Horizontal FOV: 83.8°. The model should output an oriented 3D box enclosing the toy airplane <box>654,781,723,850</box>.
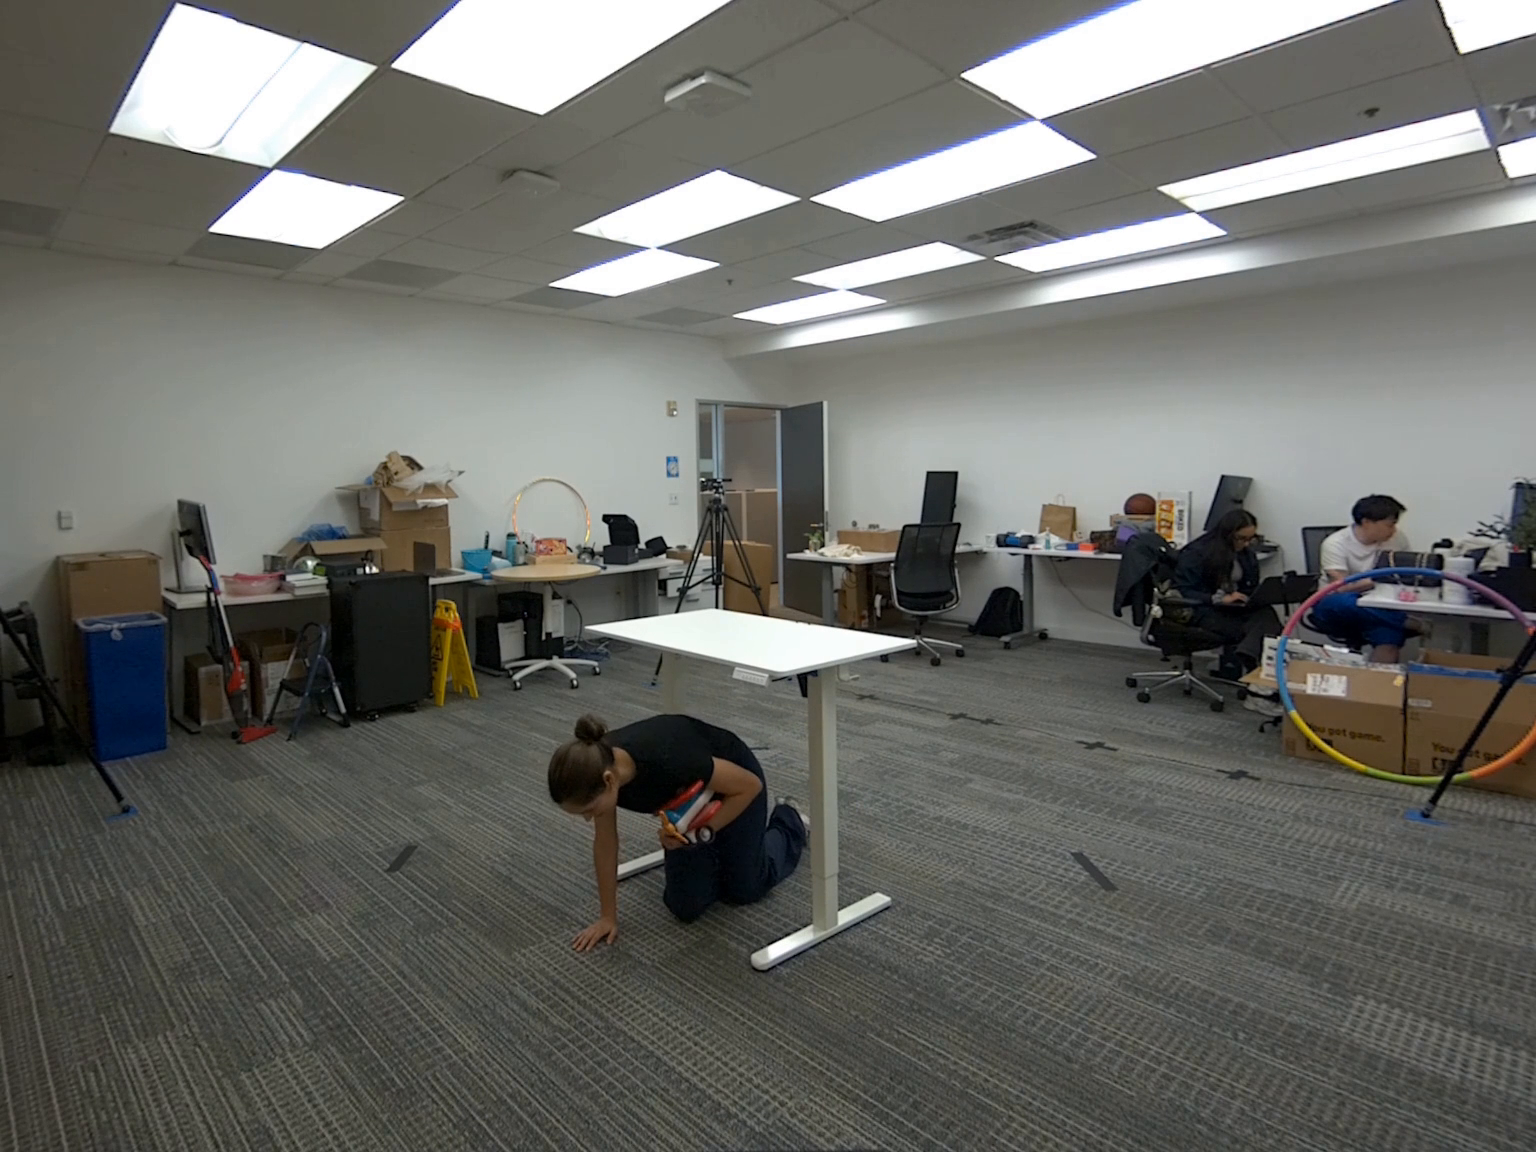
[{"bbox_3d":[-0.224,0.676,2.515,0.154,0.251,0.263,38,20,-11],"label":"toy airplane"}]
